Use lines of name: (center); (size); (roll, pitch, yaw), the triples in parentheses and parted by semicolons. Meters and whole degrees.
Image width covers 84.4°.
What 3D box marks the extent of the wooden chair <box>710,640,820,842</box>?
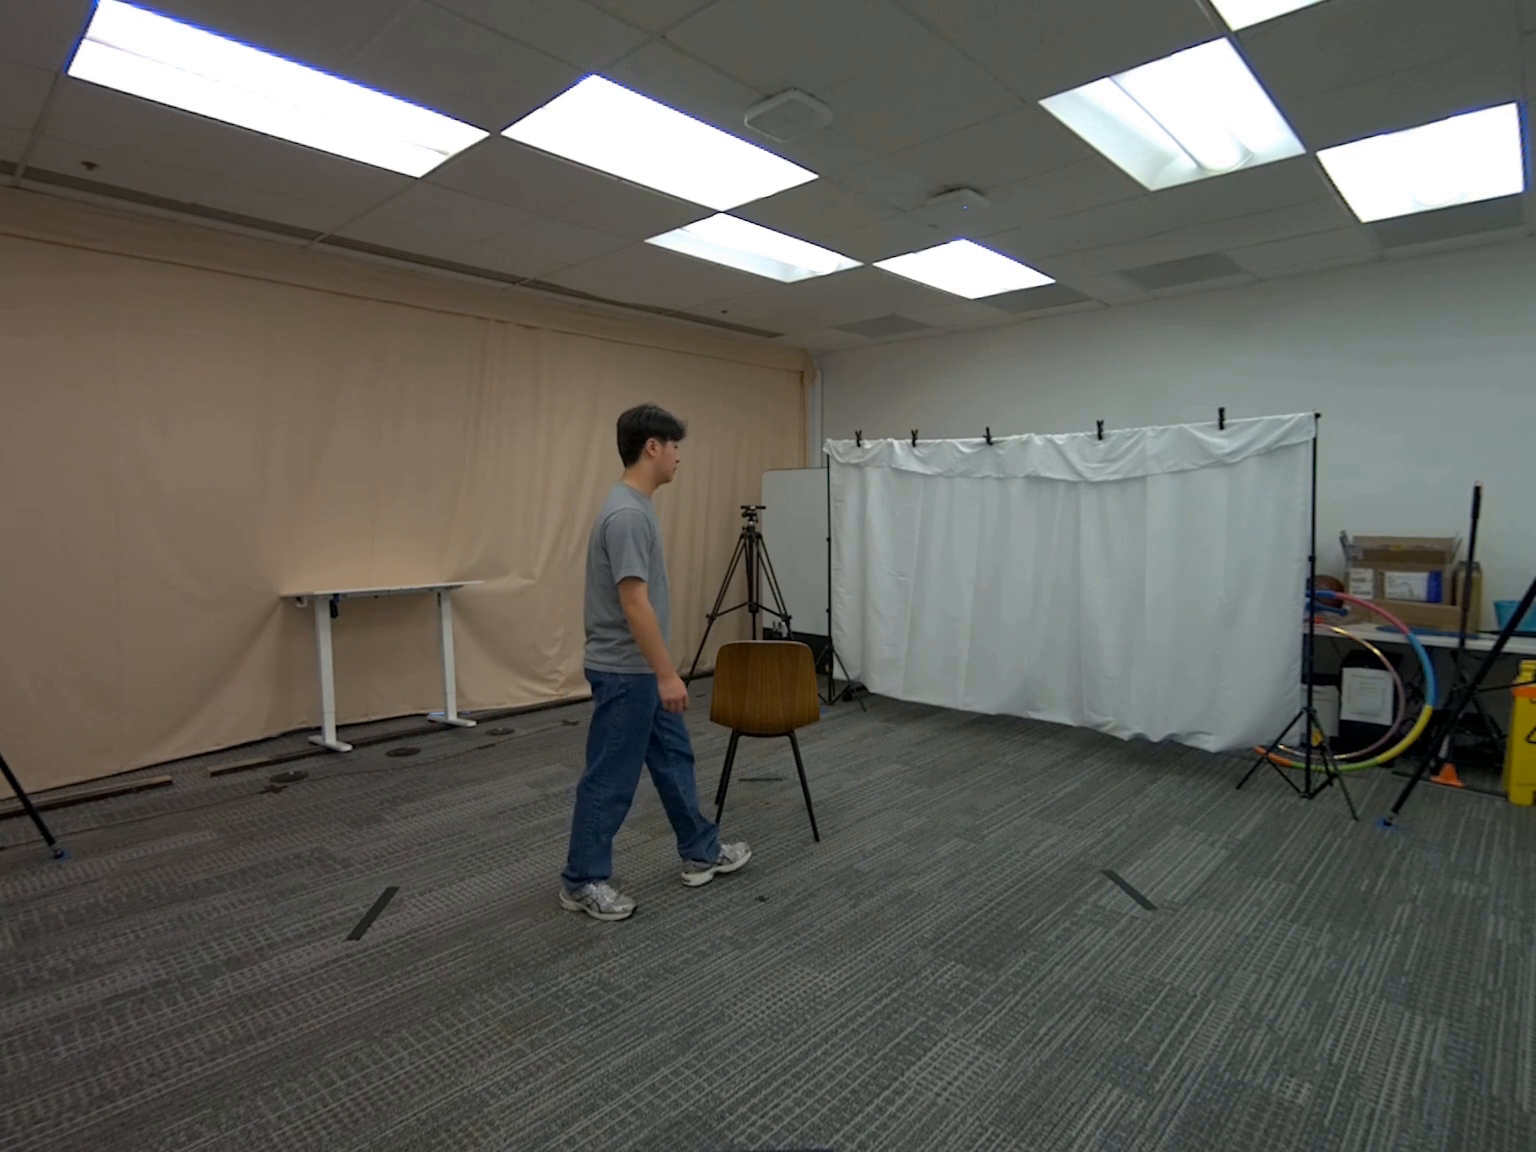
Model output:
wooden chair: (-0.025, 0.661, 3.696); (0.478, 0.874, 0.525); (-1, 6, 0)
